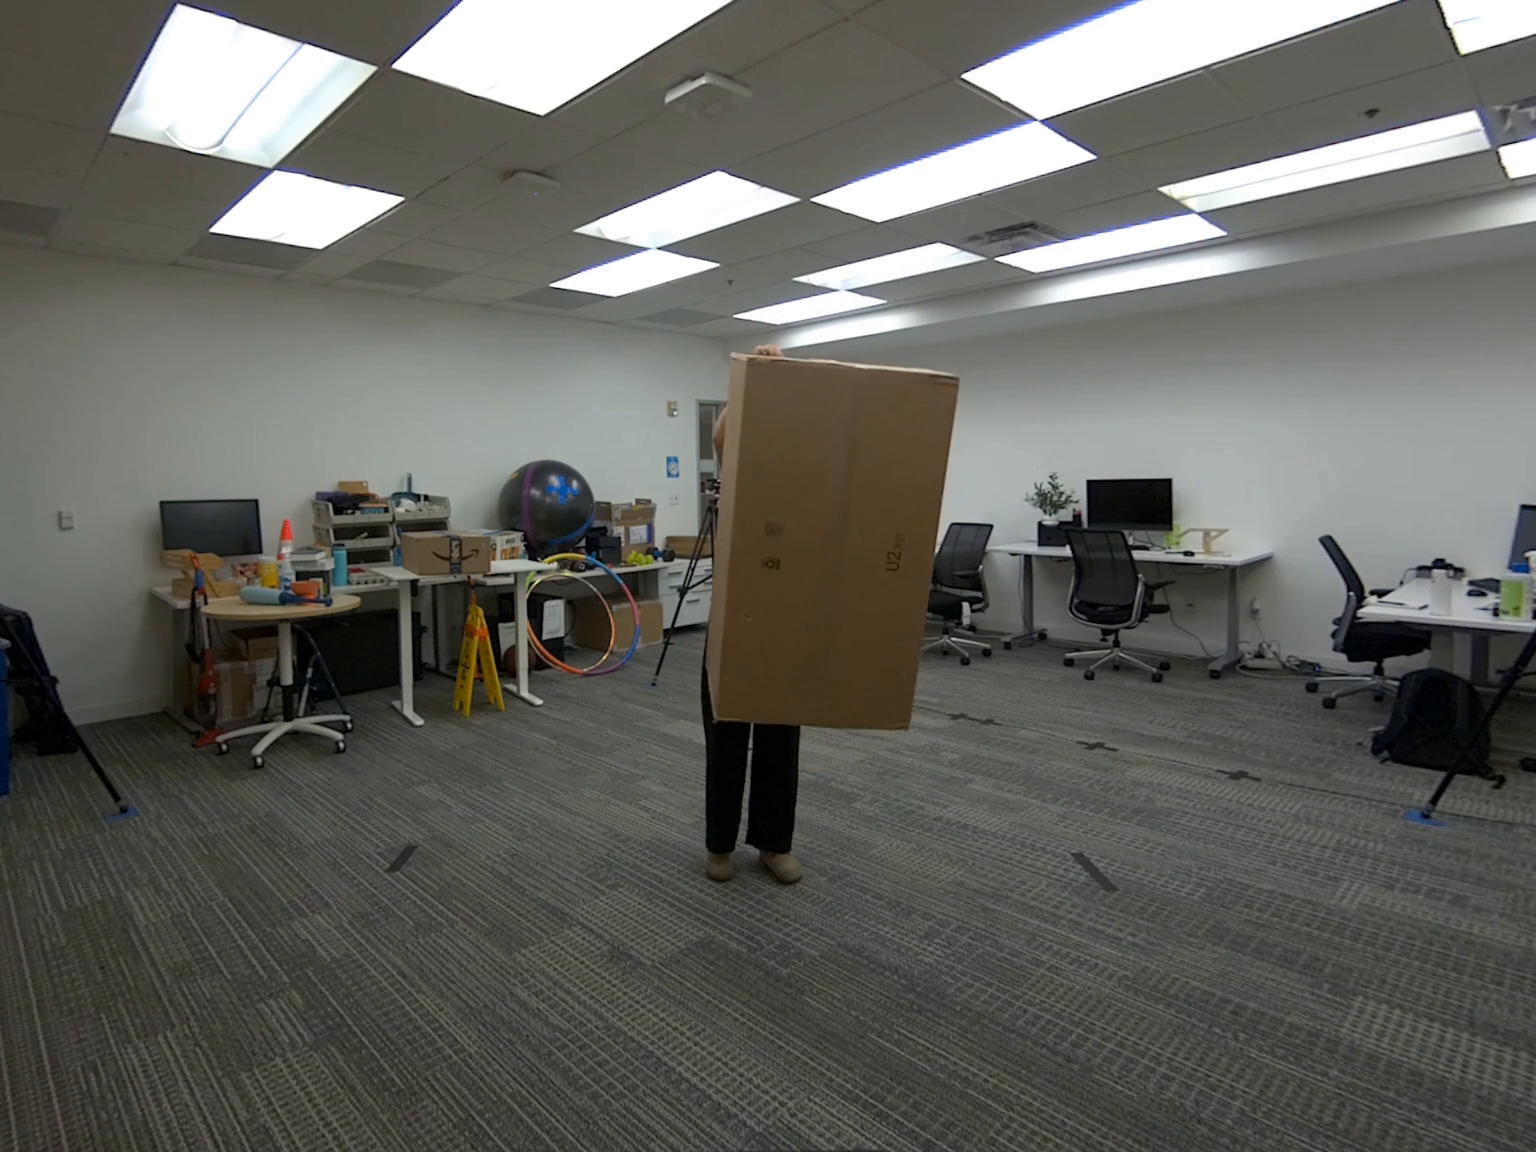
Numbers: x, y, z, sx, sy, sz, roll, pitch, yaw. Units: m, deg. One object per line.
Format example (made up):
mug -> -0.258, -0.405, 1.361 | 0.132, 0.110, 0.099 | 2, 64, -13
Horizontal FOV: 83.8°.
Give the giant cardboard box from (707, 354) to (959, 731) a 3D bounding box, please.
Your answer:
giant cardboard box -> 0.152, -0.123, 2.539 | 0.575, 1.014, 0.433 | 4, 14, -5
